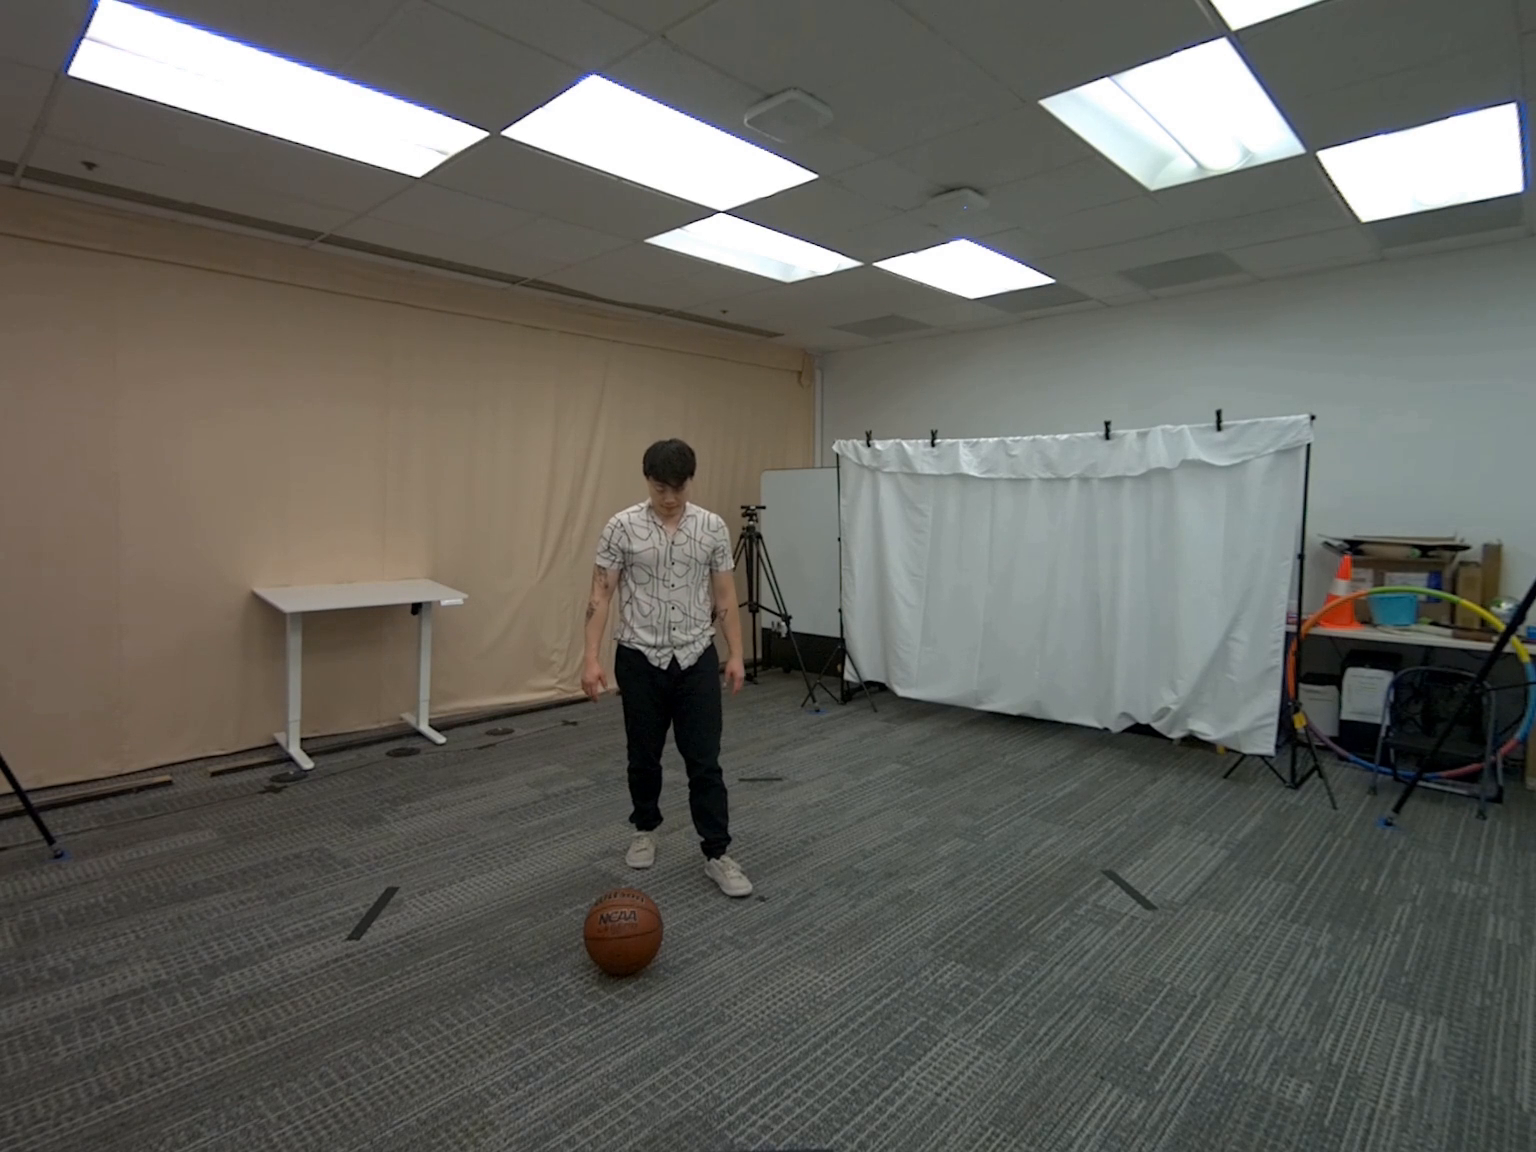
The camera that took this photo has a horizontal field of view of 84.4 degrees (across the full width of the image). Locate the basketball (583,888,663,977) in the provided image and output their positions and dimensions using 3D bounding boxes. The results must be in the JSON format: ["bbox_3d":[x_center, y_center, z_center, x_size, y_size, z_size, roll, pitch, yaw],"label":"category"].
[{"bbox_3d":[-0.430,1.057,2.525,0.236,0.235,0.237,0,4,-2],"label":"basketball"}]
